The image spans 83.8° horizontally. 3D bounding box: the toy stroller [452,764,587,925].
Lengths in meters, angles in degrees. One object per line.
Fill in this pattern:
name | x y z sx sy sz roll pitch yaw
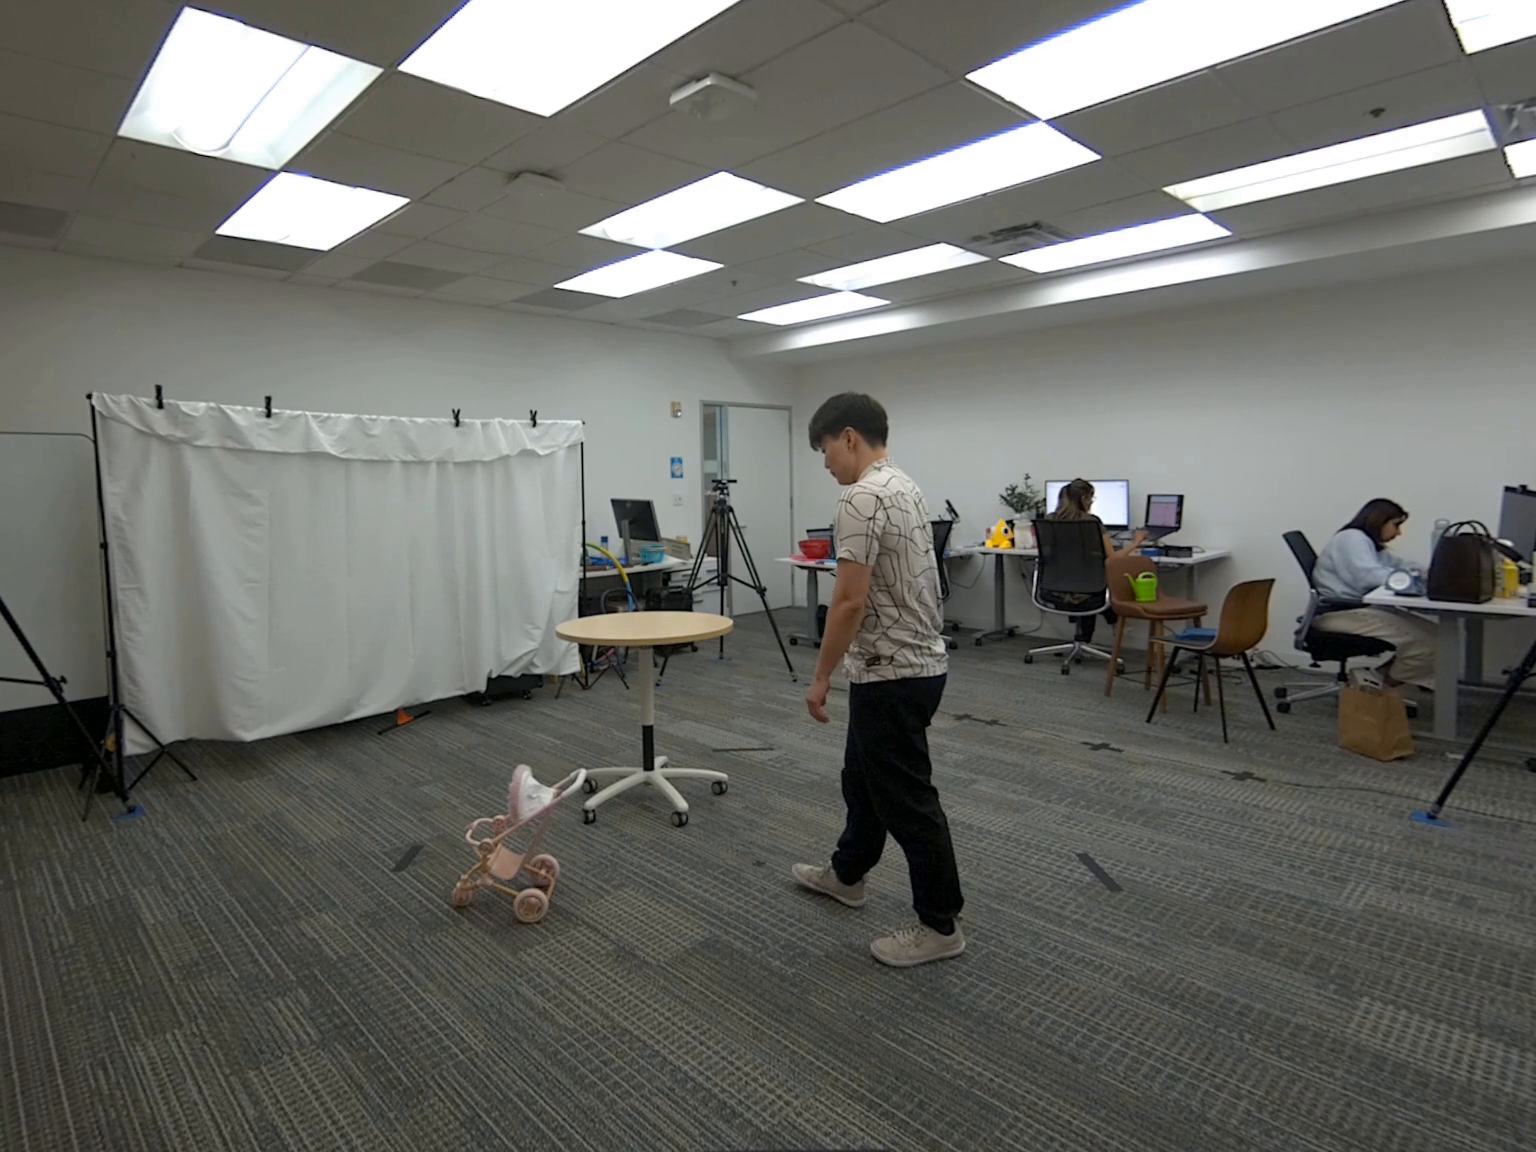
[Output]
toy stroller | -0.849 0.884 2.844 0.343 0.533 0.281 11 6 3
